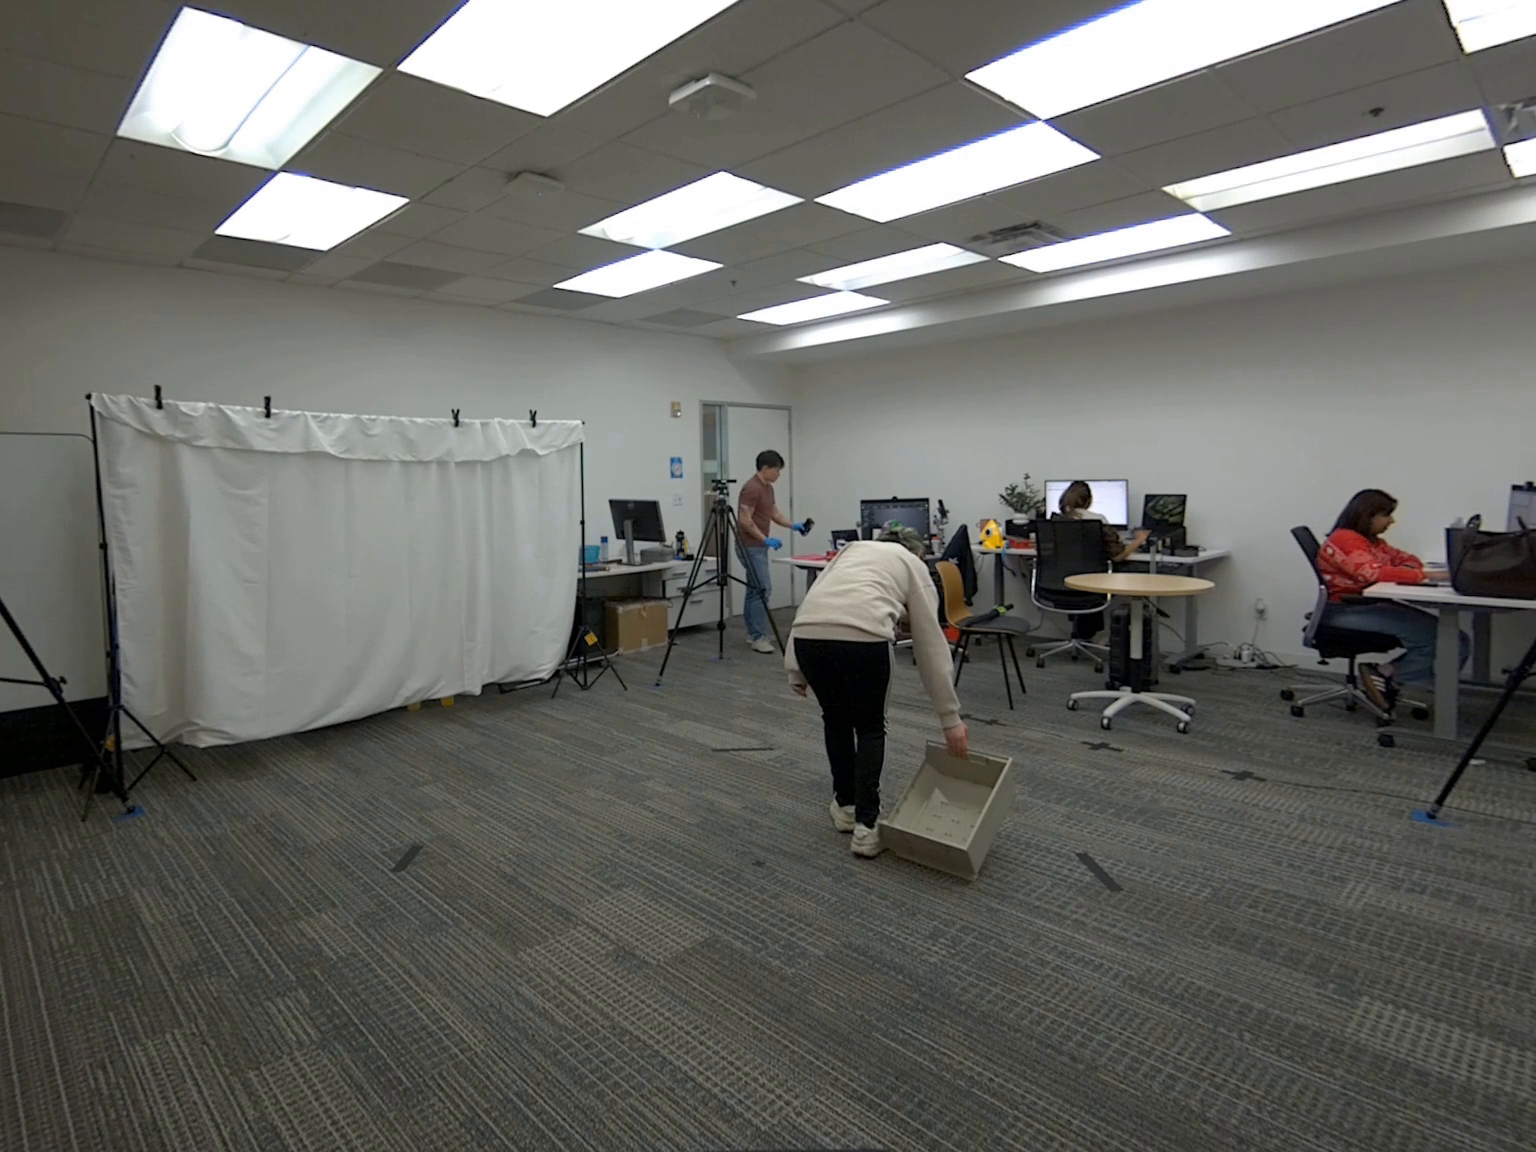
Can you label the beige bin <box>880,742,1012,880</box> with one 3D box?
[{"bbox_3d":[0.661,0.848,3.138,0.389,0.183,0.422,5,39,40],"label":"beige bin"}]
